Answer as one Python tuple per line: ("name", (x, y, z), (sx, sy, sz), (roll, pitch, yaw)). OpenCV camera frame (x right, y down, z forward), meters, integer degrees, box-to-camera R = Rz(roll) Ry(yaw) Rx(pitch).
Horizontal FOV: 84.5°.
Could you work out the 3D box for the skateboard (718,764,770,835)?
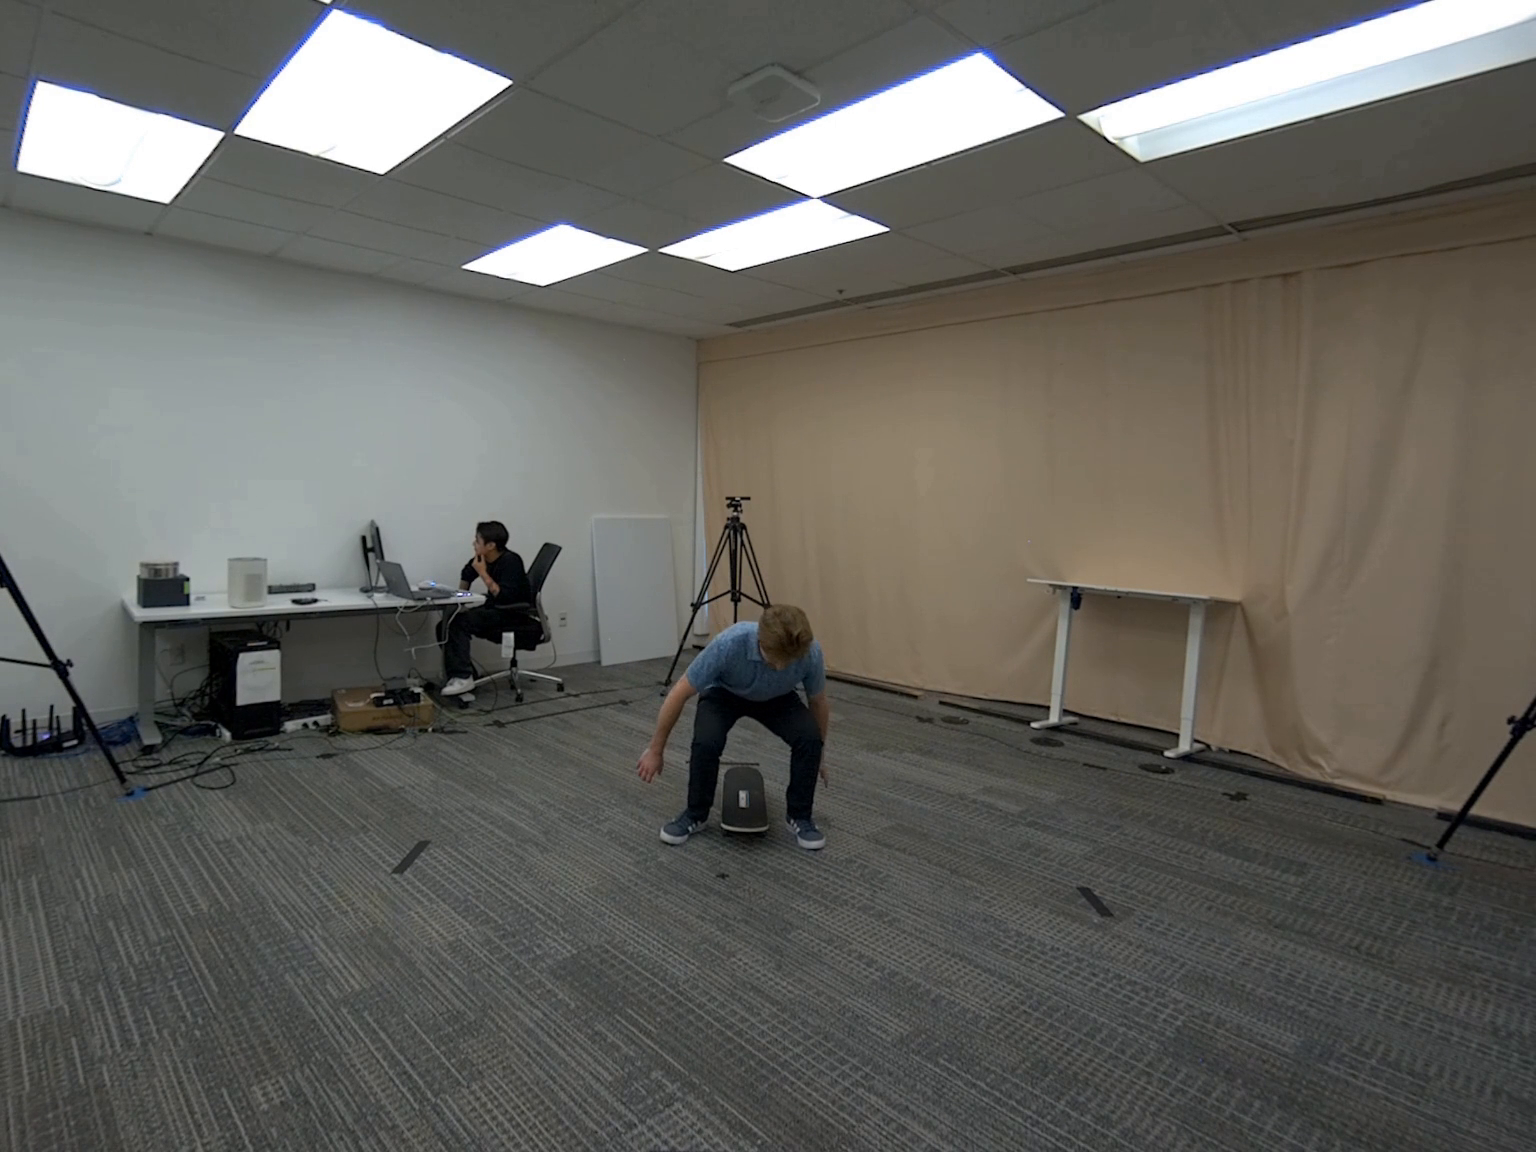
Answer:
("skateboard", (-0.112, 1.000, 3.675), (0.193, 0.110, 0.788), (1, 5, -2))
